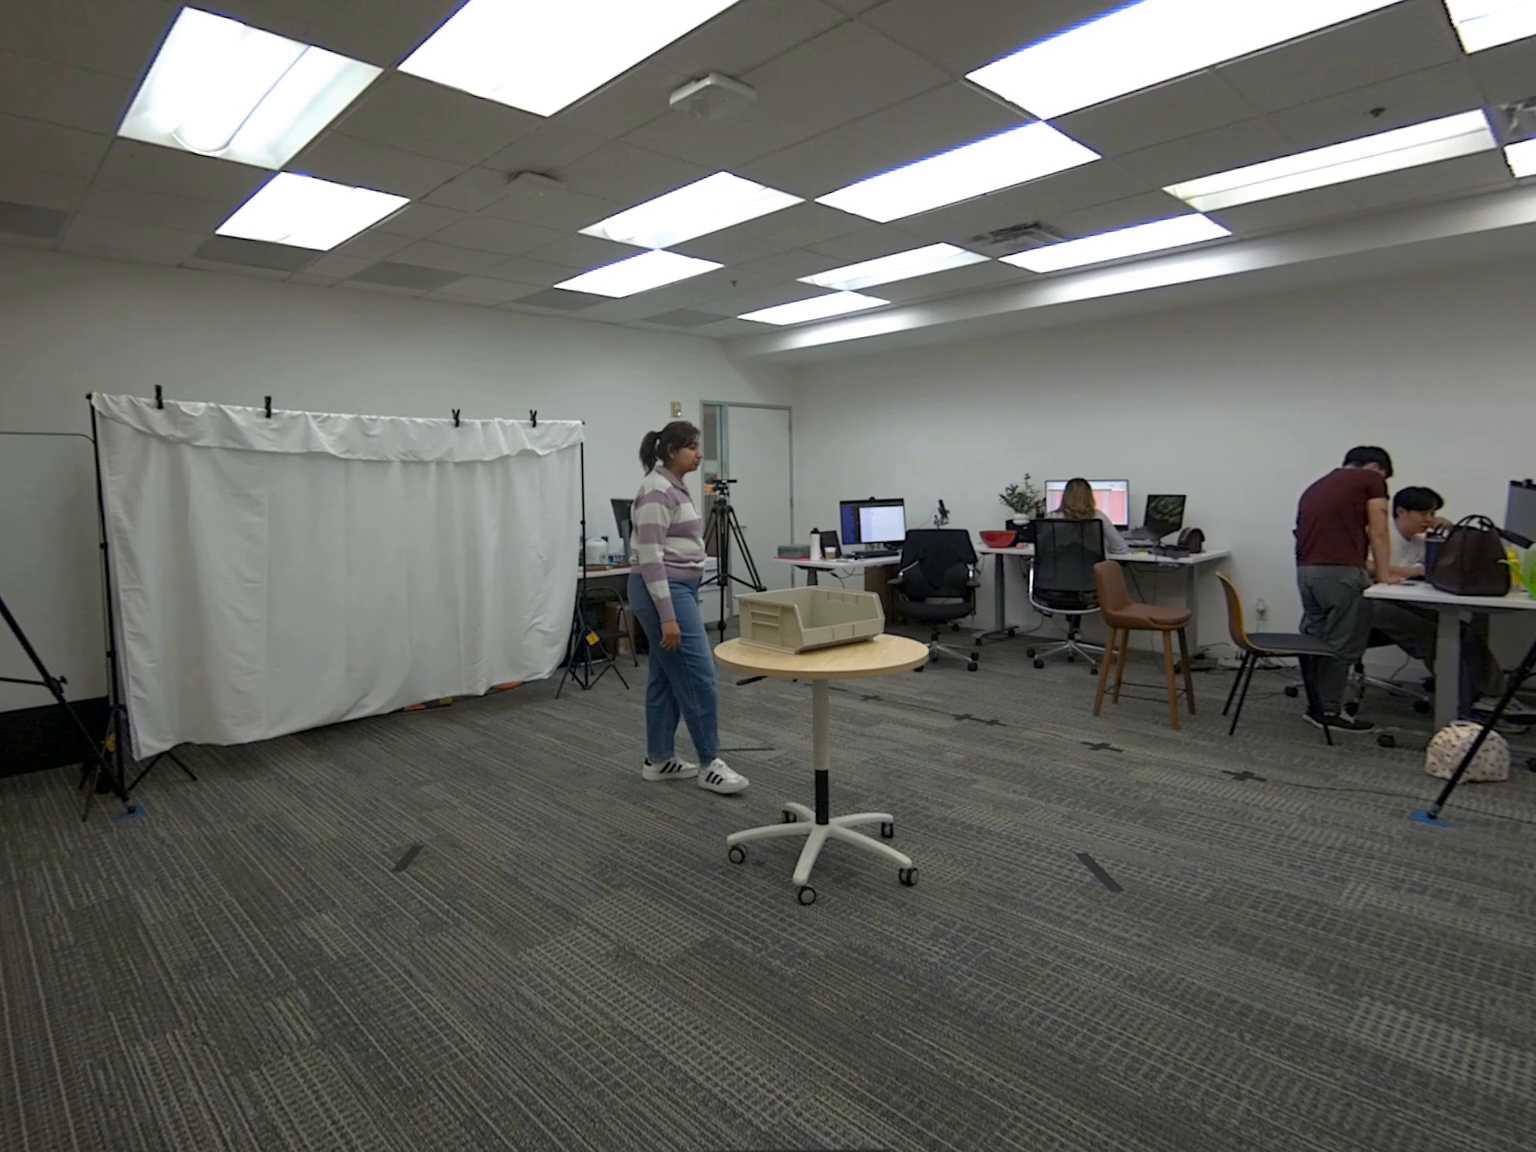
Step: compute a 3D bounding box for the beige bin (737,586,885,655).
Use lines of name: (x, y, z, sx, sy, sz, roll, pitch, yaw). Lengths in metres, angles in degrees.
beige bin: (0.156, 0.162, 3.205, 0.411, 0.188, 0.388, -6, 6, -38)
